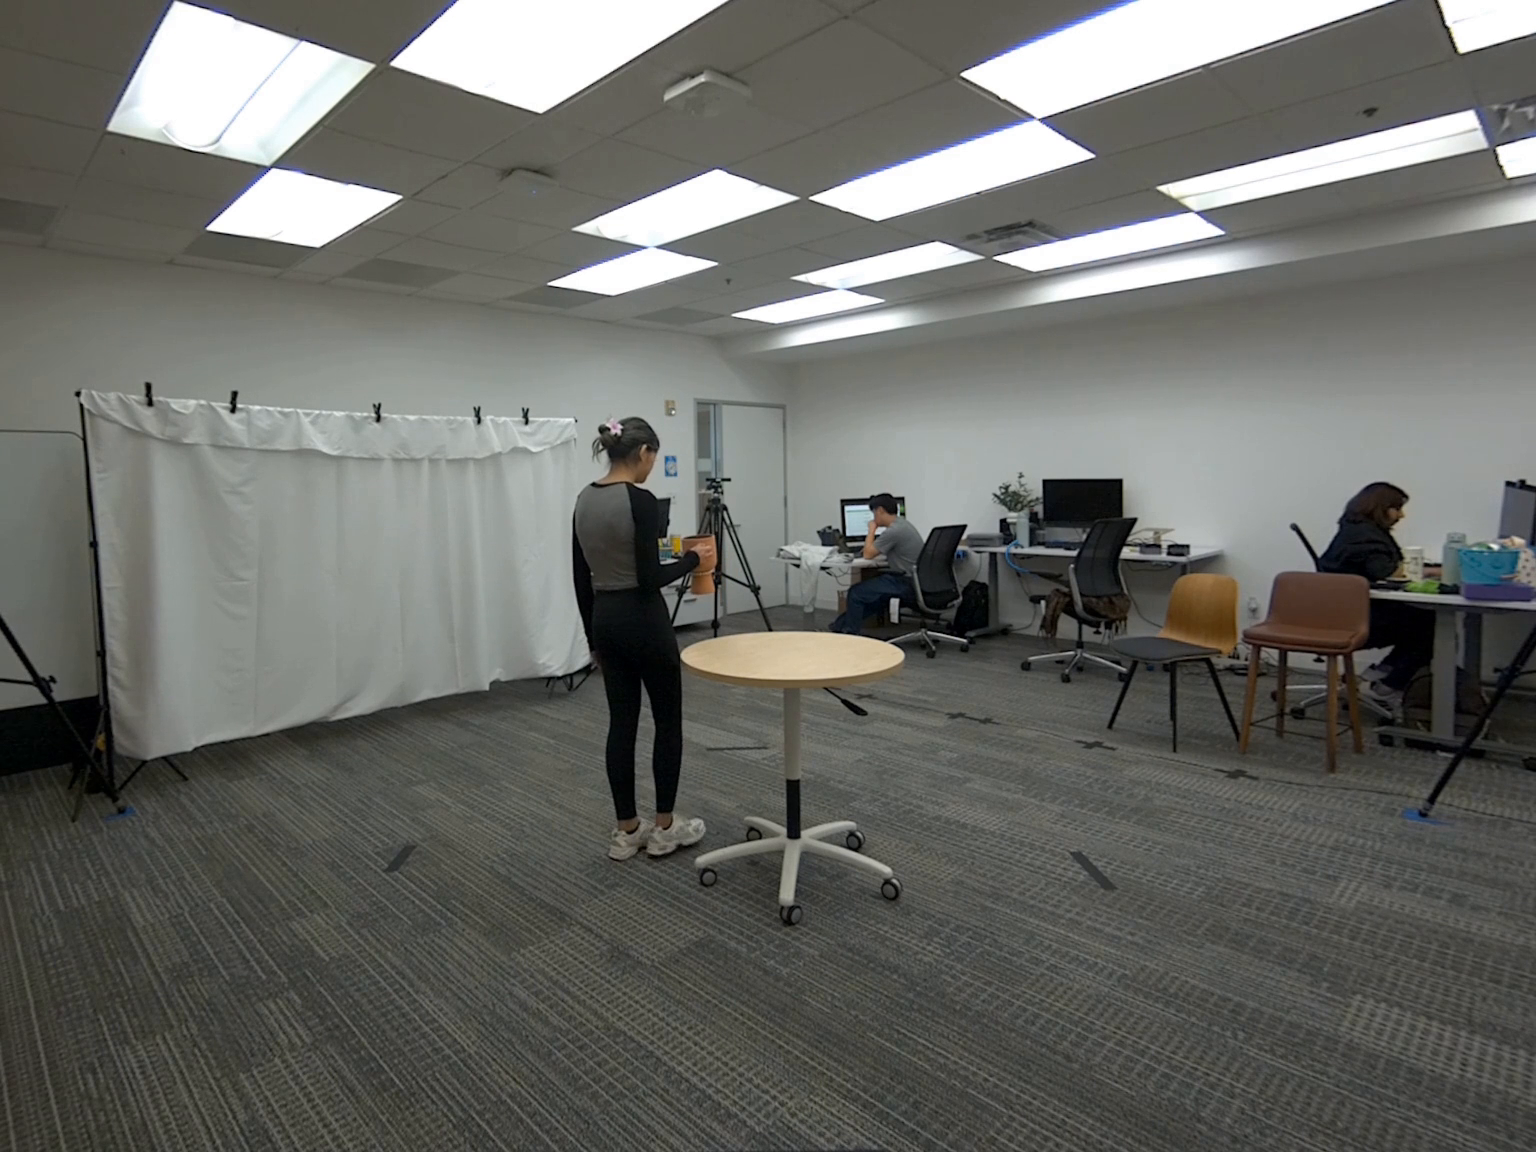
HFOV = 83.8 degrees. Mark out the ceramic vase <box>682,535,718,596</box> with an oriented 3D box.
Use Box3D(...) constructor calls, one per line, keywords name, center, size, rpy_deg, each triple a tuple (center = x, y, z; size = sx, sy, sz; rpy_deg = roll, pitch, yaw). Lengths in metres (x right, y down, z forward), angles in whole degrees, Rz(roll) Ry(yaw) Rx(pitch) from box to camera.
Box3D(name="ceramic vase", center=(-0.269, -0.044, 3.369), size=(0.137, 0.218, 0.156), rpy_deg=(-2, 8, 23))
